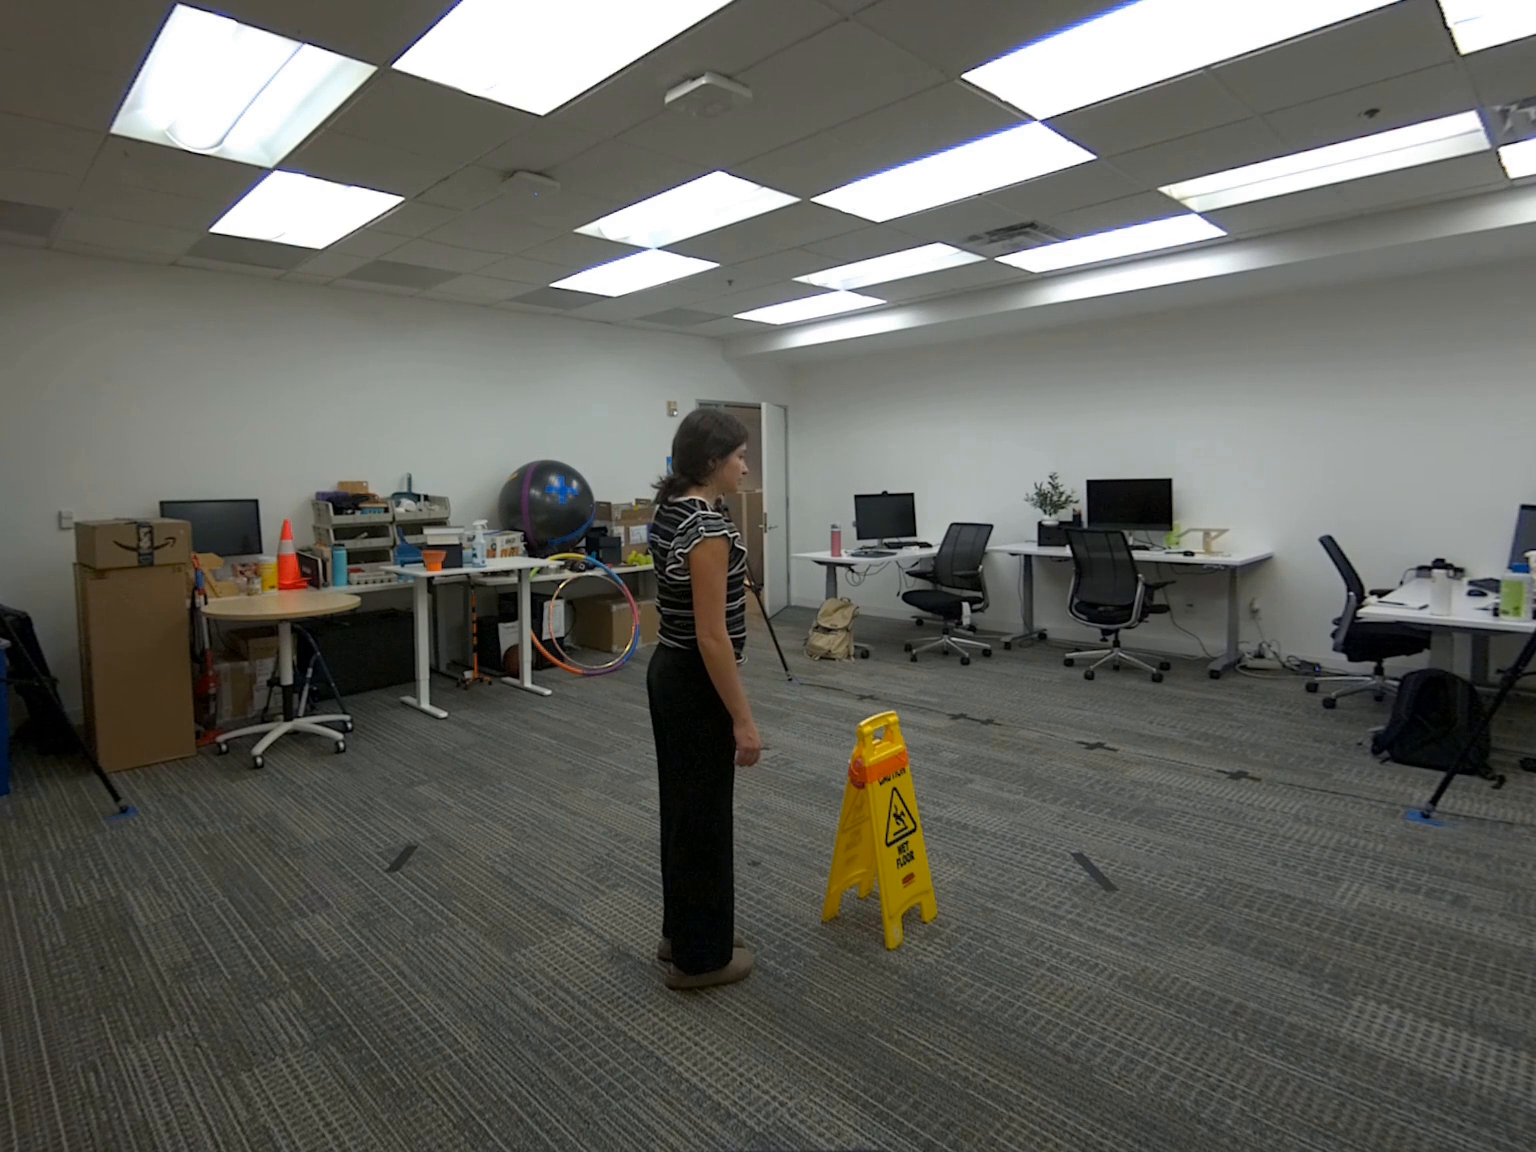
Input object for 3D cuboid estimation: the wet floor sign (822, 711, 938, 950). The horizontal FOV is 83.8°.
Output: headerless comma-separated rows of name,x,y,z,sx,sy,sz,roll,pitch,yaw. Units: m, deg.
wet floor sign,0.355,0.763,2.679,0.298,0.643,0.275,3,6,41
